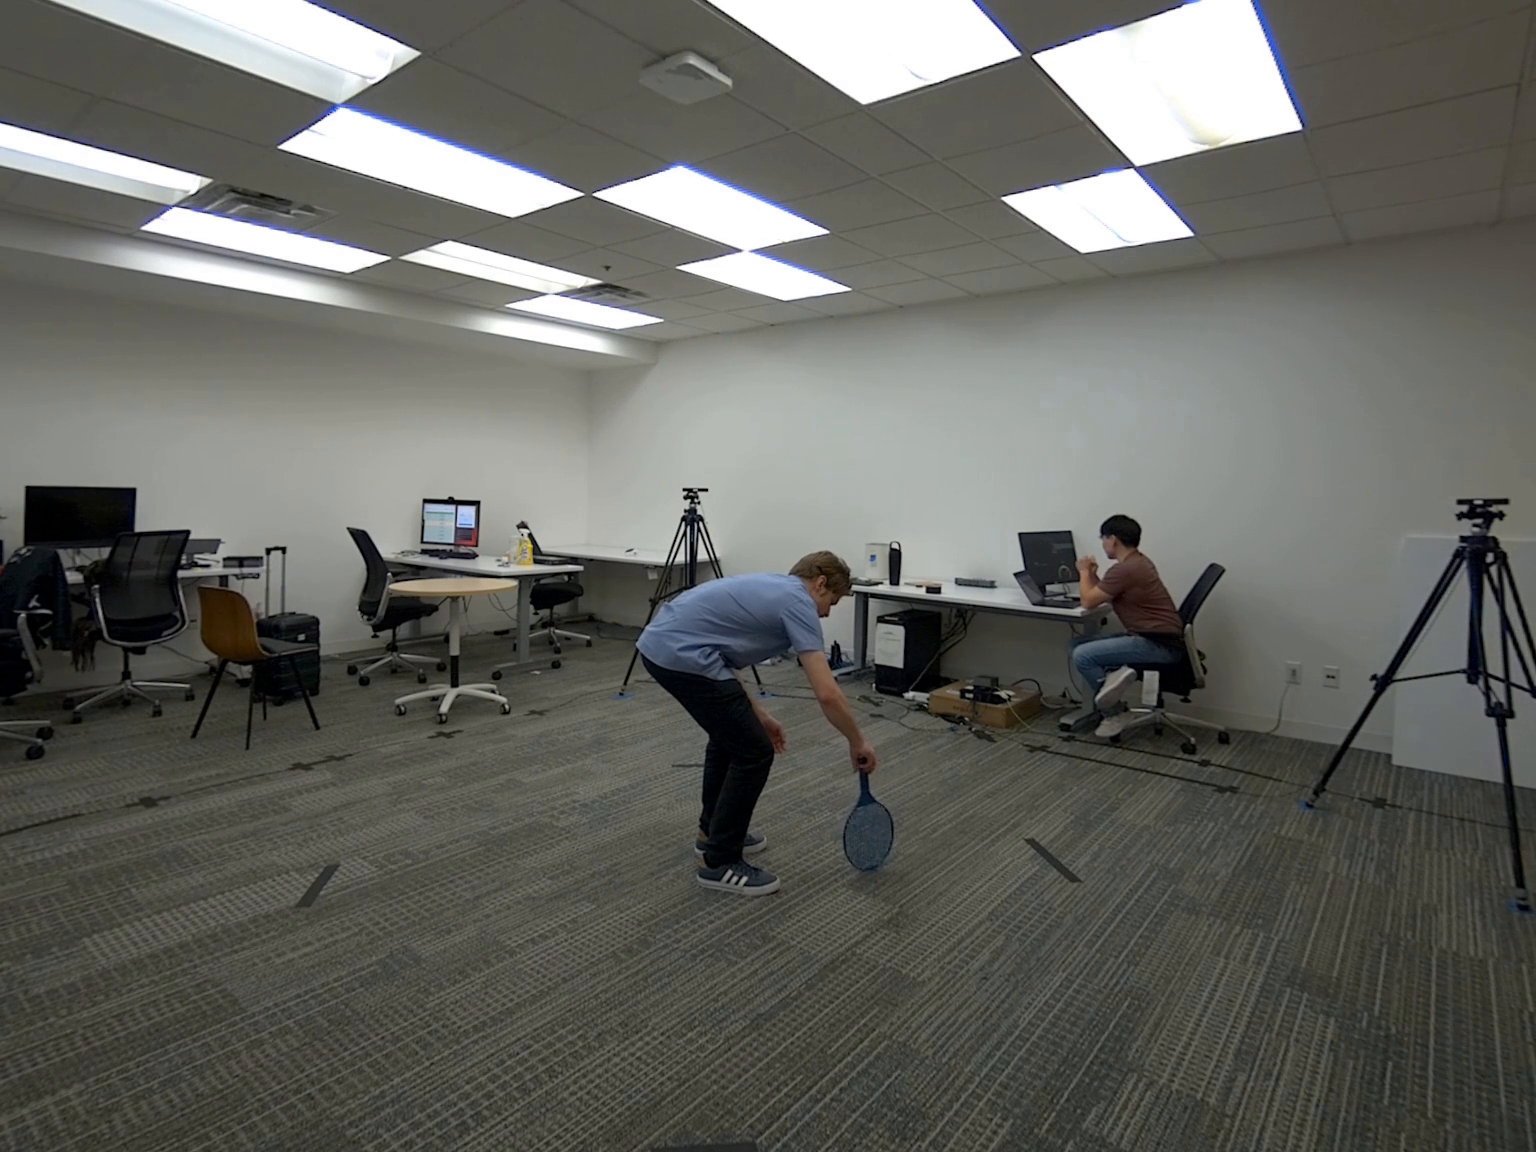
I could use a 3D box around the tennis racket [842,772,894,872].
[{"bbox_3d":[0.351,0.862,3.104,0.209,0.430,0.032,-5,8,-22],"label":"tennis racket"}]
